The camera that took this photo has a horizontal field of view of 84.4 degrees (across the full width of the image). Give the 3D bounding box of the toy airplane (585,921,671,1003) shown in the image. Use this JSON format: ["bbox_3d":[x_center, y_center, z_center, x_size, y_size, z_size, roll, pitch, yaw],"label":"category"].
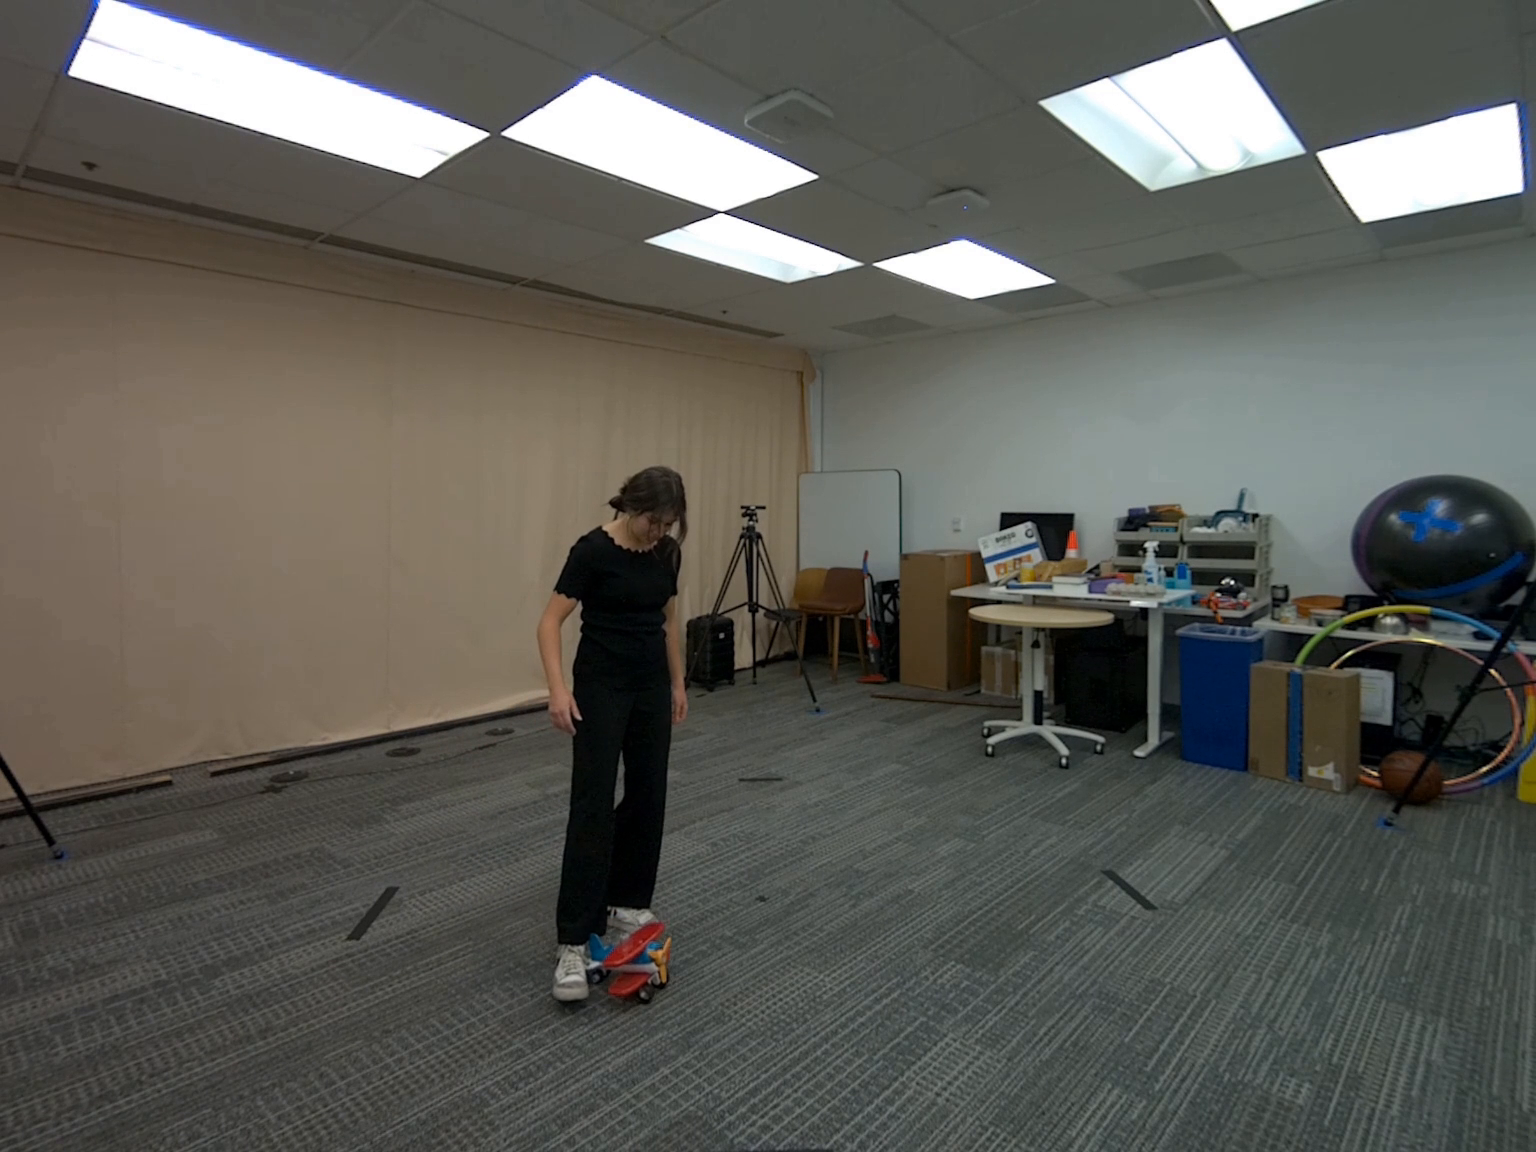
[{"bbox_3d":[-0.412,1.120,2.414,0.259,0.156,0.252,1,4,-3],"label":"toy airplane"}]
